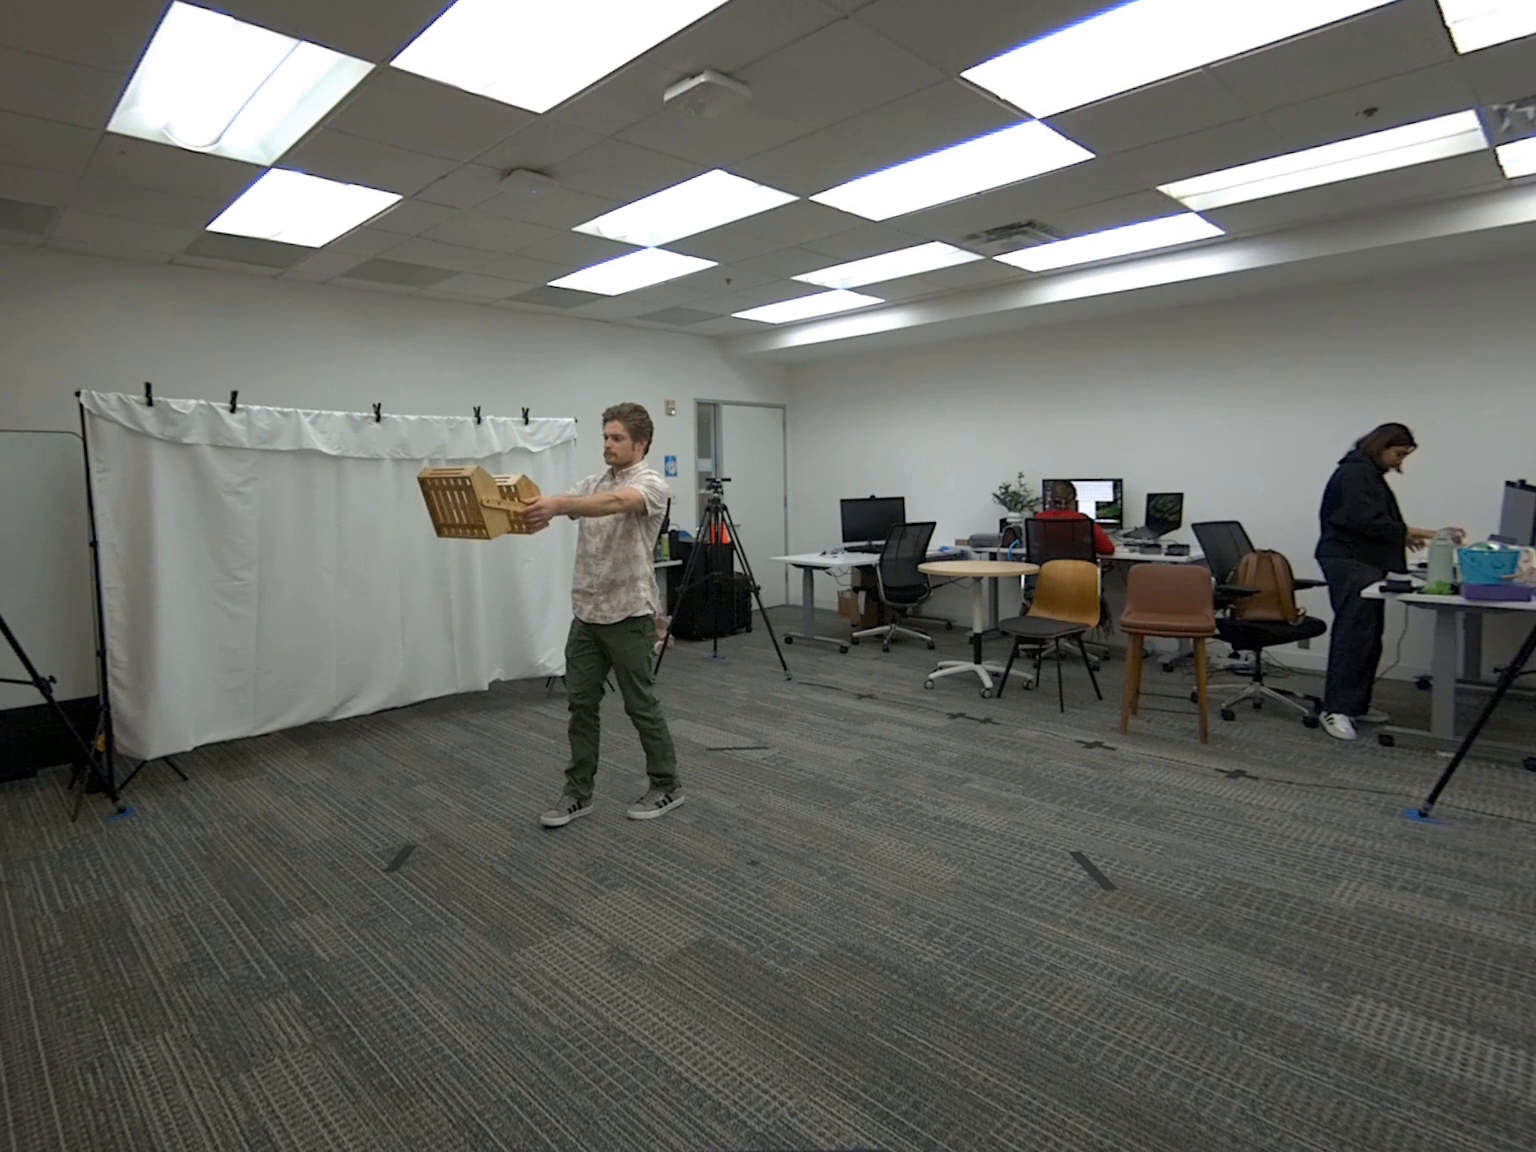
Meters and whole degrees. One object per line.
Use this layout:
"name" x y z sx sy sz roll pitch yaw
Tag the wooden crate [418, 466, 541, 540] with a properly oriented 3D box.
"wooden crate" -1.005 -0.275 3.027 0.334 0.296 0.271 3 26 36
